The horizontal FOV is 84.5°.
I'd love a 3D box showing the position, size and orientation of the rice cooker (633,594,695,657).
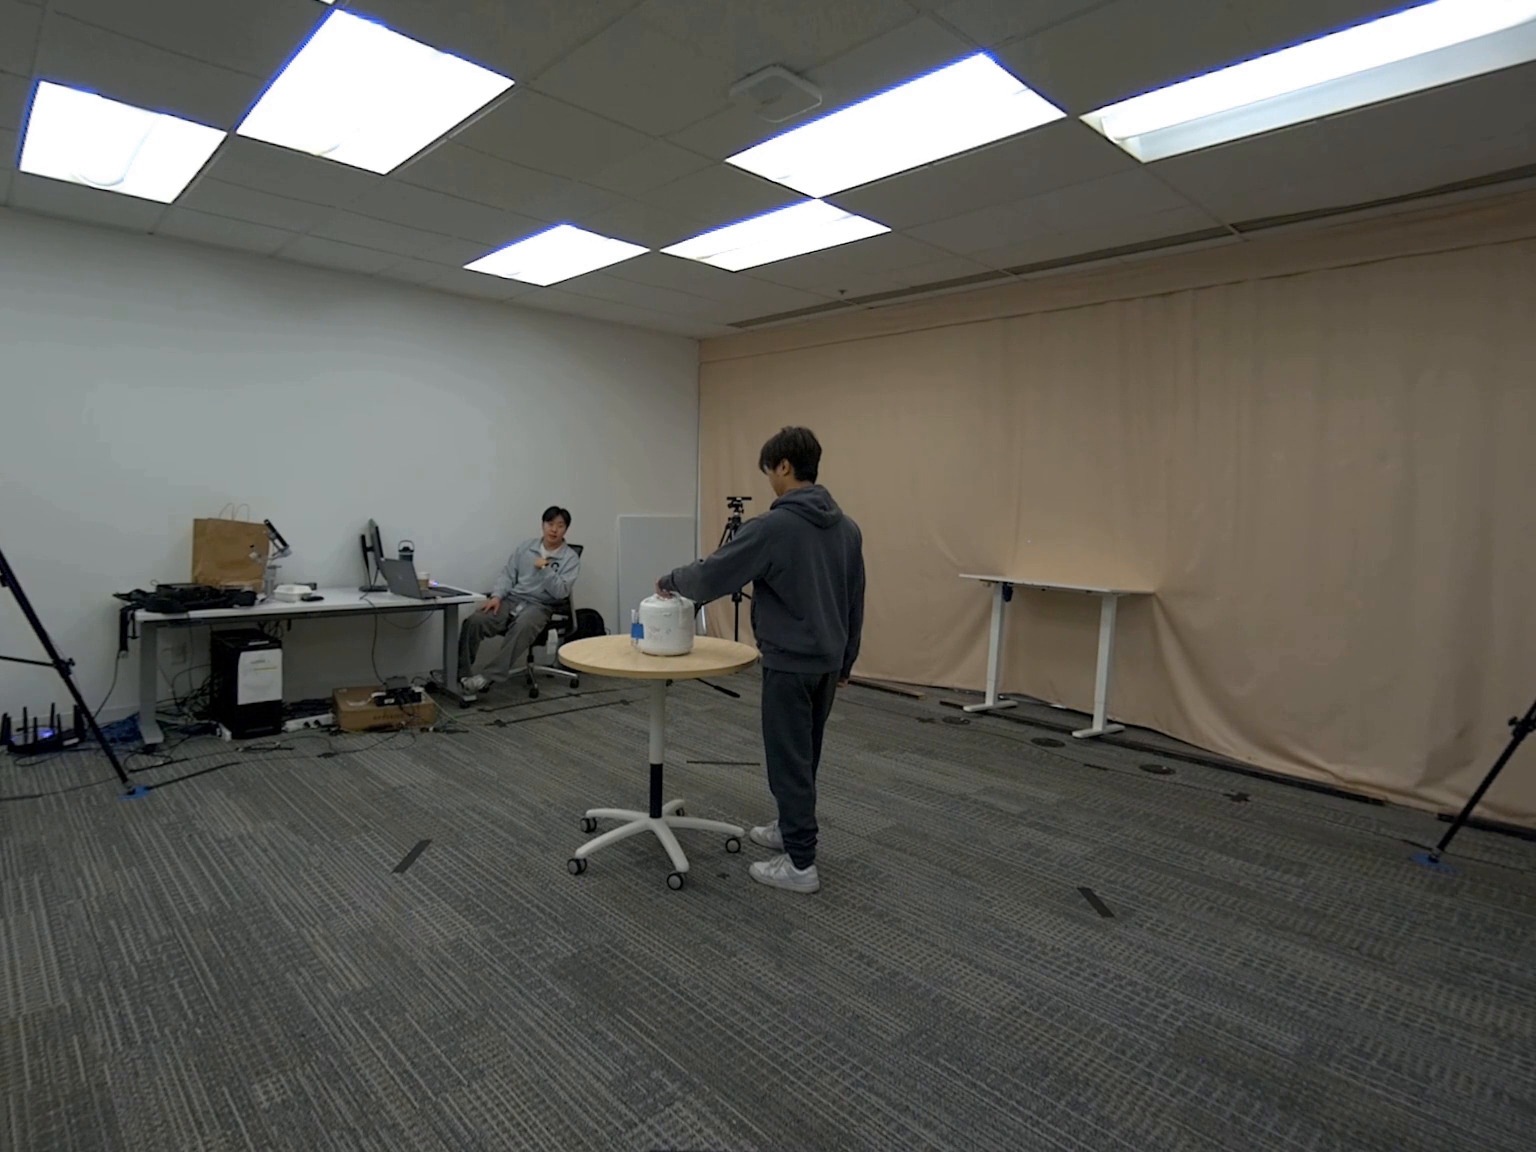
[{"bbox_3d":[-0.390,0.176,3.219,0.212,0.232,0.226,-4,7,-44],"label":"rice cooker"}]
